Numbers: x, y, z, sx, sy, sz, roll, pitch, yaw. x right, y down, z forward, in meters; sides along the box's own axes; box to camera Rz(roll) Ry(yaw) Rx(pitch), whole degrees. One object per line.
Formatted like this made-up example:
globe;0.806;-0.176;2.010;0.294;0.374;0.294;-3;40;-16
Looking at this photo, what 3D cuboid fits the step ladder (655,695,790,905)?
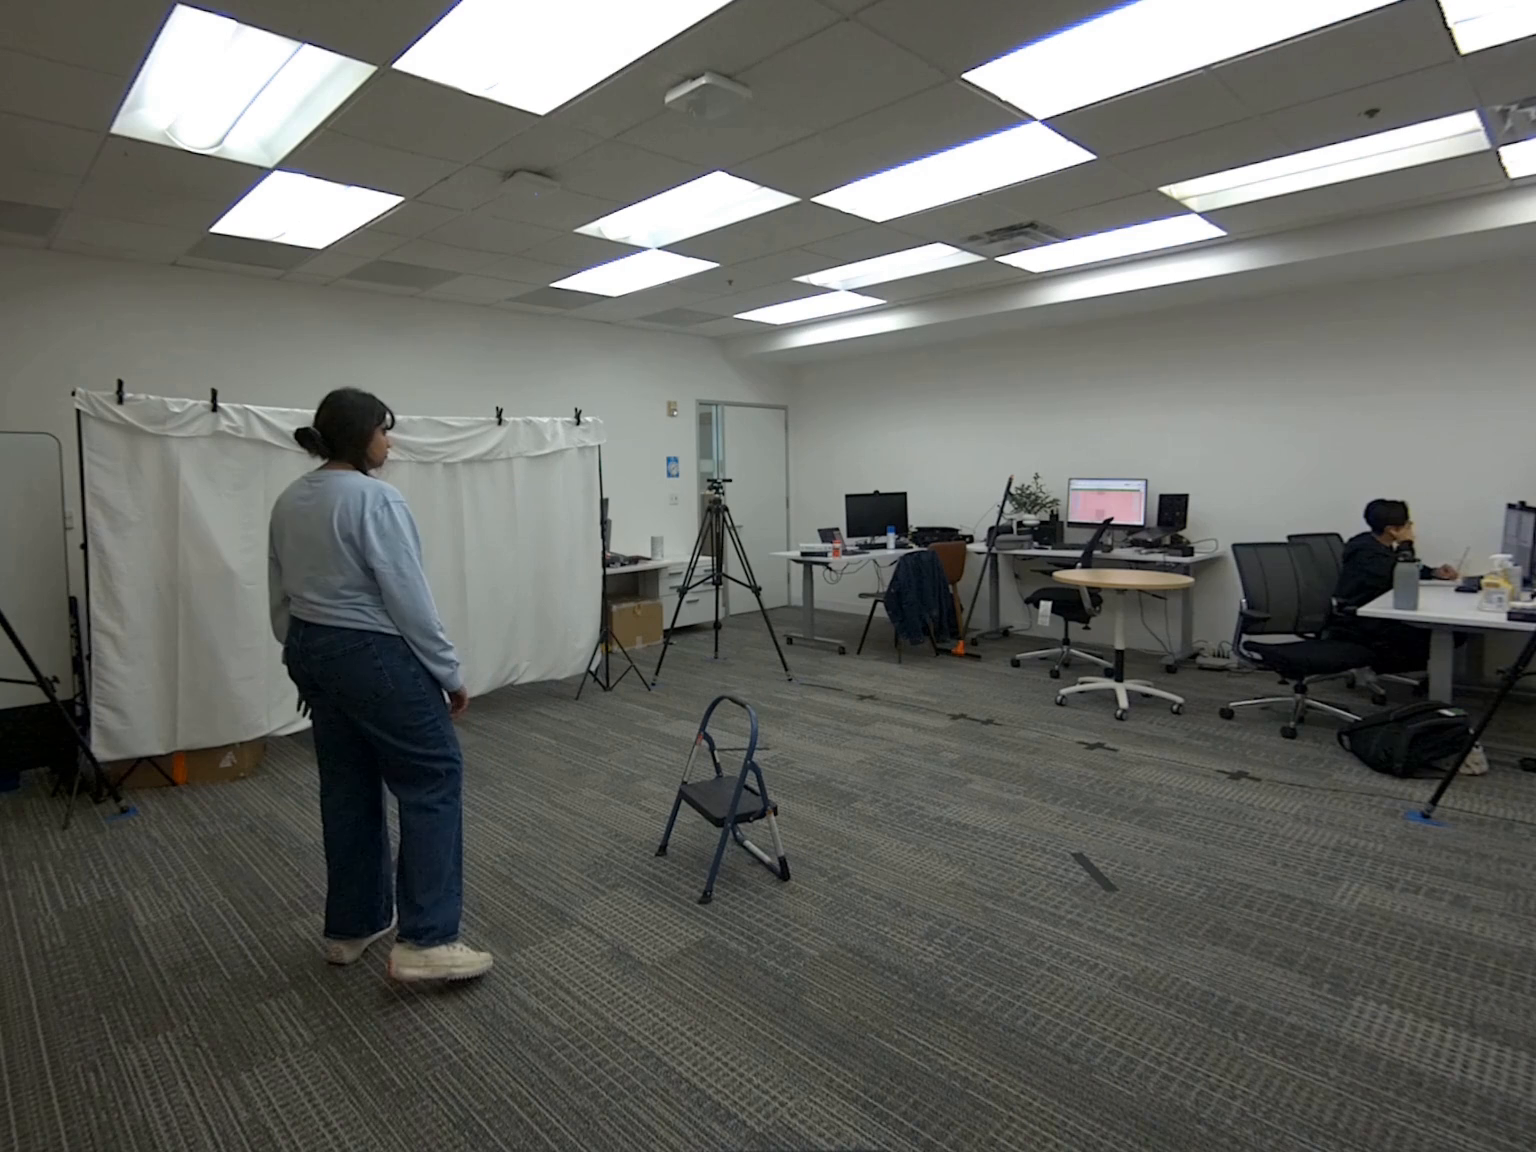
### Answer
step ladder;-0.168;0.748;3.060;0.341;0.604;0.442;-3;5;-28
